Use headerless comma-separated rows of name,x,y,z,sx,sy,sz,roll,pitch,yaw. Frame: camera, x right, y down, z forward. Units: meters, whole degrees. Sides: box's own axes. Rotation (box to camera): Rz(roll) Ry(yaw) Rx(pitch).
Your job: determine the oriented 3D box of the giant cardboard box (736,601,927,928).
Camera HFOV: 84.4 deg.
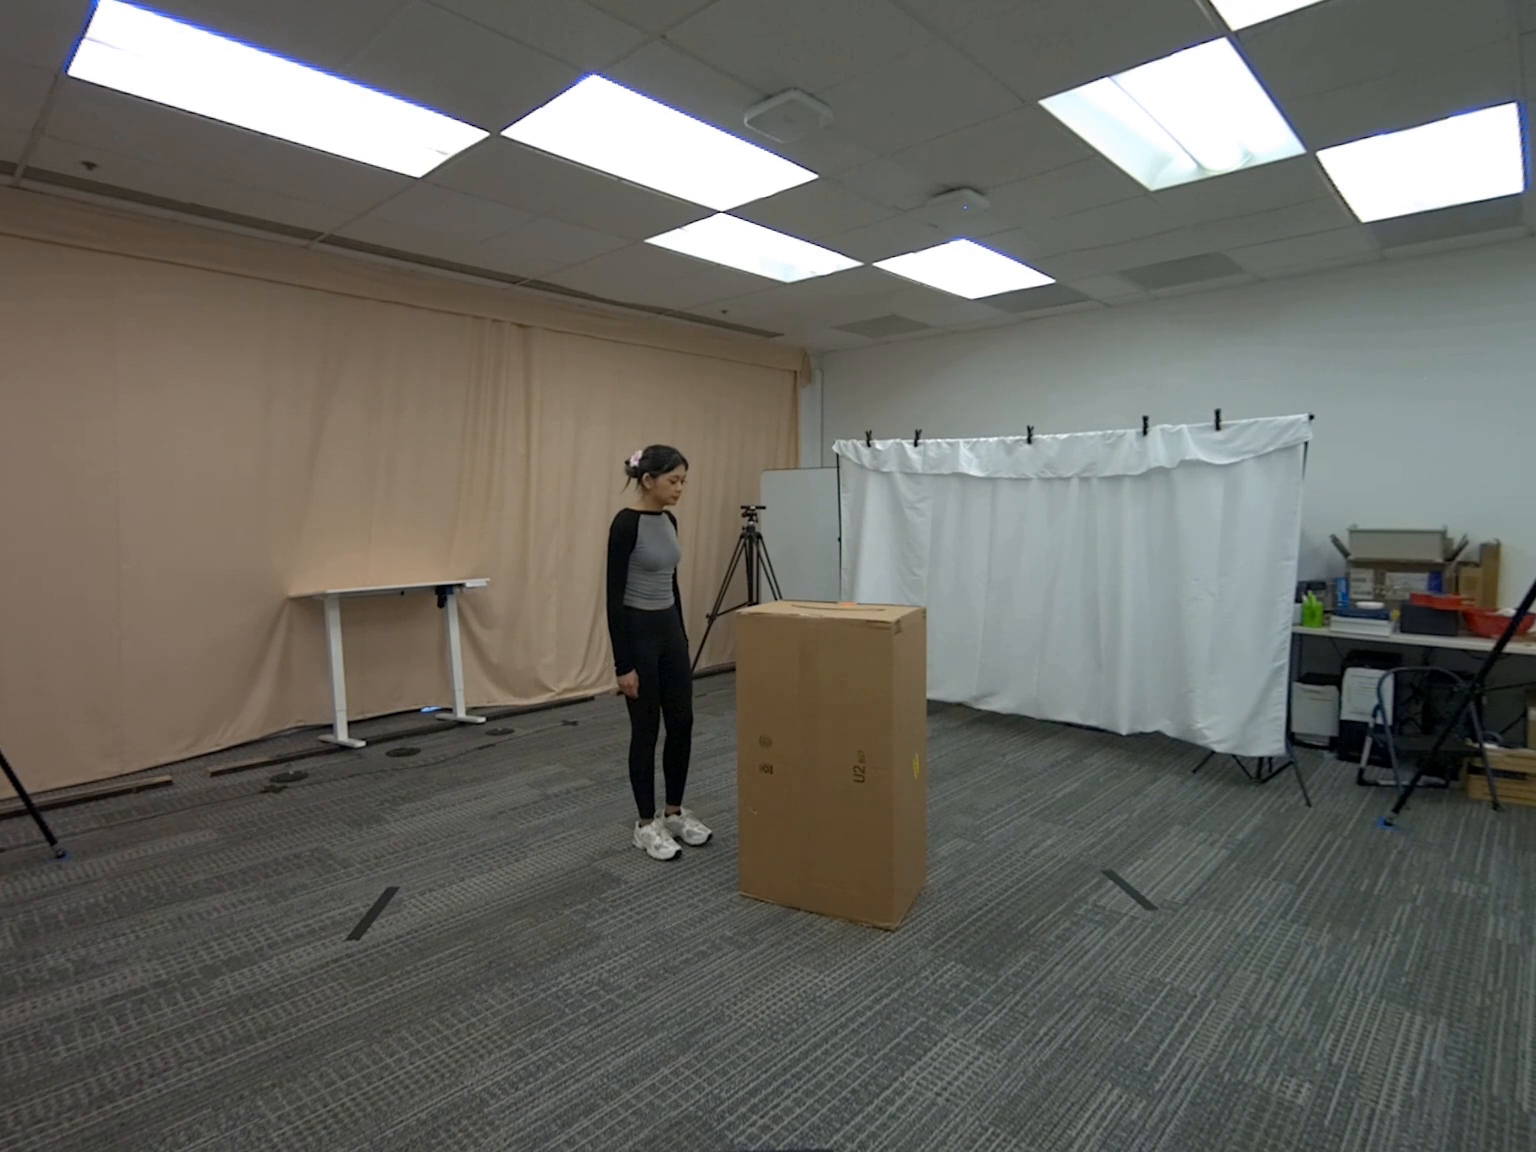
giant cardboard box,0.242,0.631,3.042,0.599,1.024,0.436,1,4,26
